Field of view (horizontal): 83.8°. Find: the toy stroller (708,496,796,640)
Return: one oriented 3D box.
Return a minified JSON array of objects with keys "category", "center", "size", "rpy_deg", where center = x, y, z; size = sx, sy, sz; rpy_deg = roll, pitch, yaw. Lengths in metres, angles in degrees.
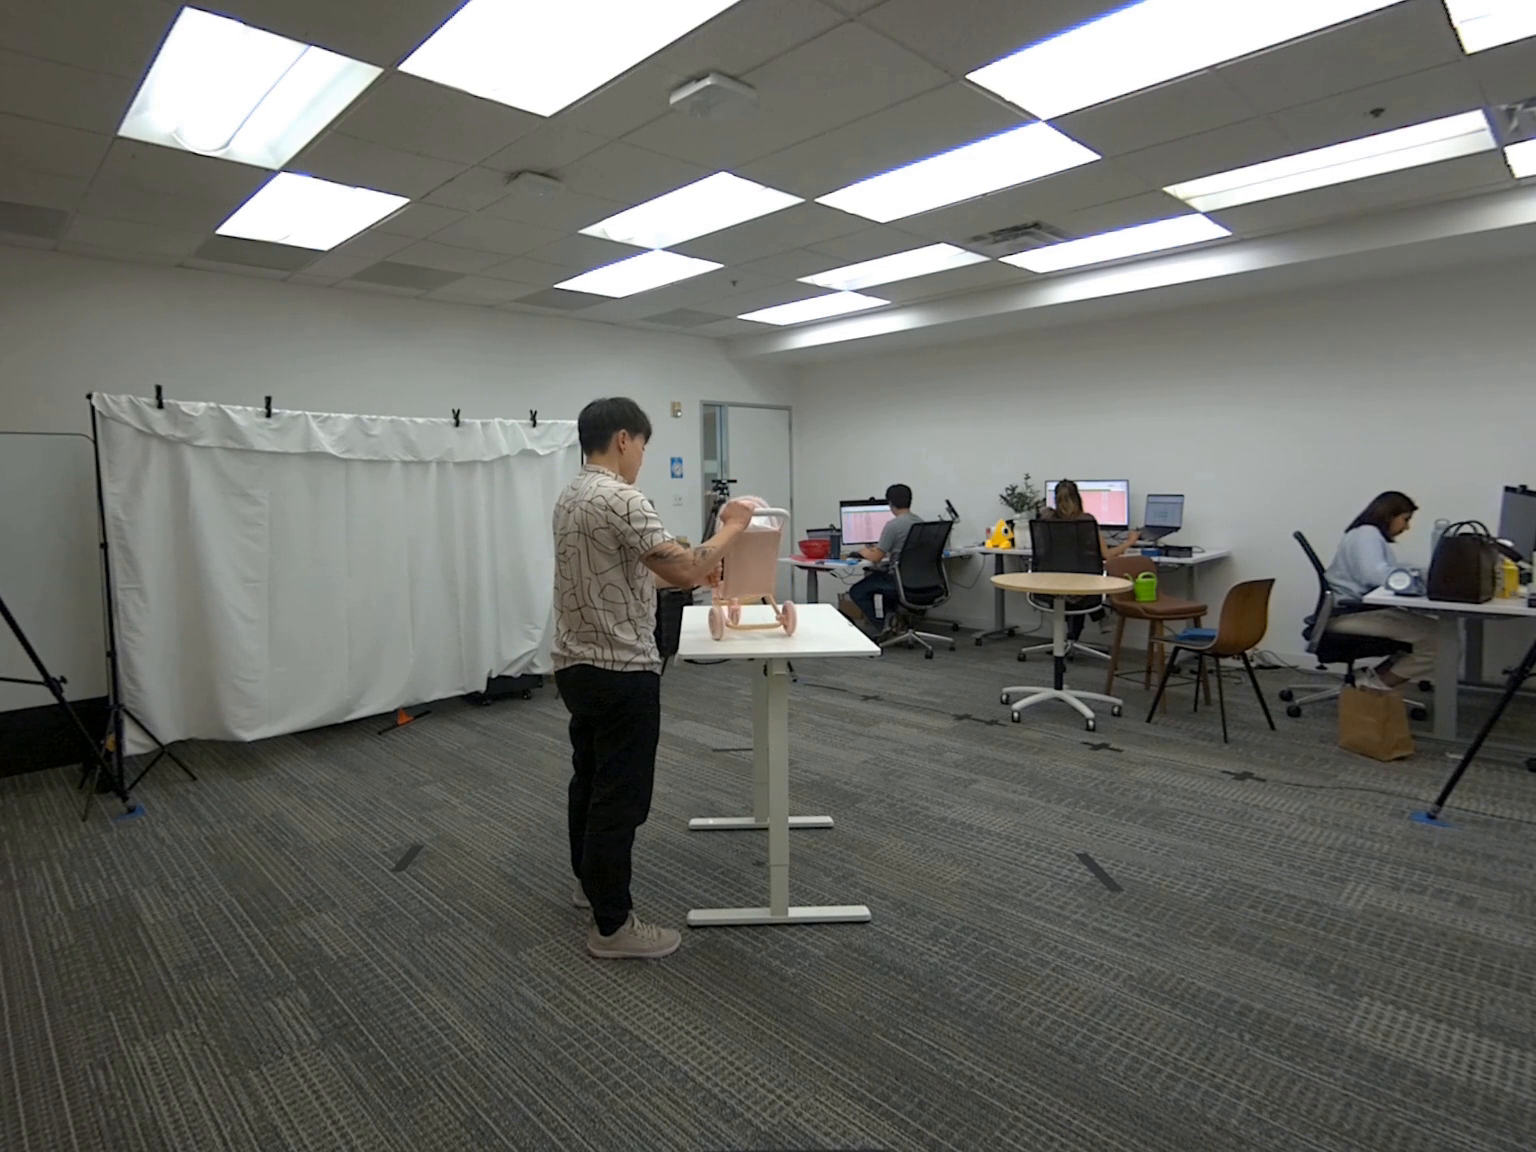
[{"category":"toy stroller","center":[-0.065,-0.026,2.832],"size":[0.279,0.526,0.350],"rpy_deg":[-3,20,-11]}]
